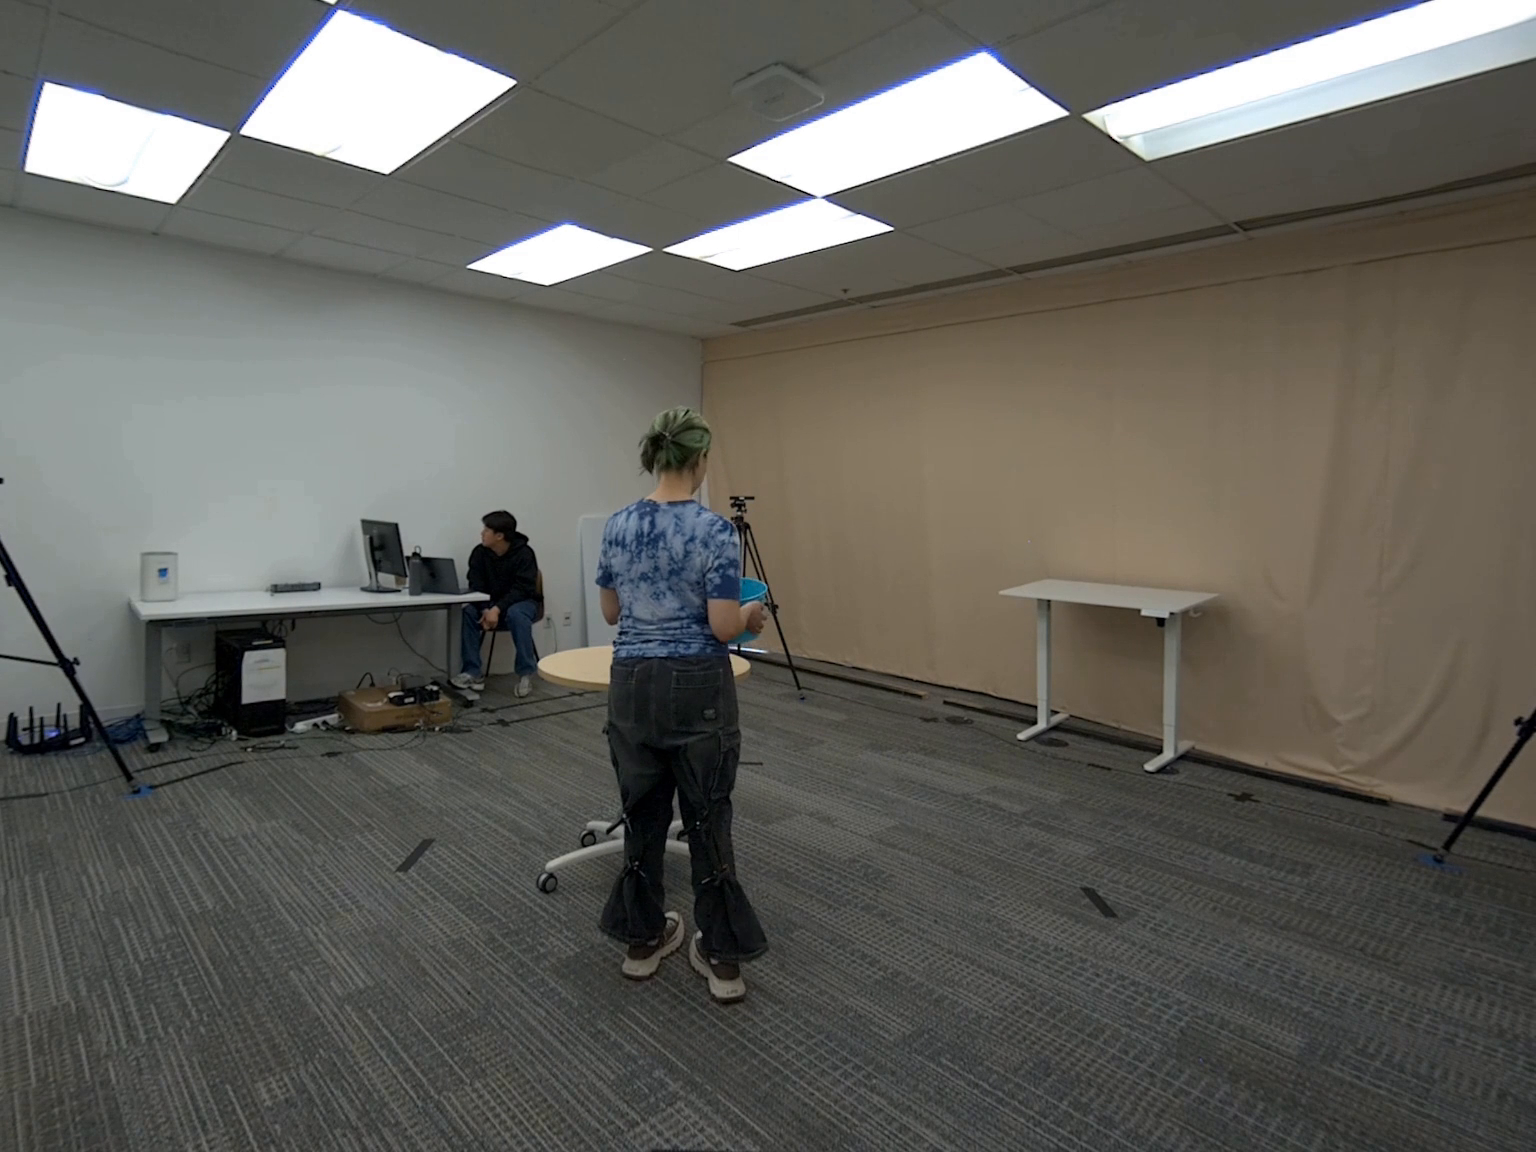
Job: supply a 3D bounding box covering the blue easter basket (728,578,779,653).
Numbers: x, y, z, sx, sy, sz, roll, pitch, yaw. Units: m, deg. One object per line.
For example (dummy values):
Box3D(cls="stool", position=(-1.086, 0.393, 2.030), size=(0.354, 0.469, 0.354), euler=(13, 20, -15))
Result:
Box3D(cls="blue easter basket", position=(-0.100, 0.119, 2.651), size=(0.243, 0.154, 0.246), euler=(-2, 15, -1))
